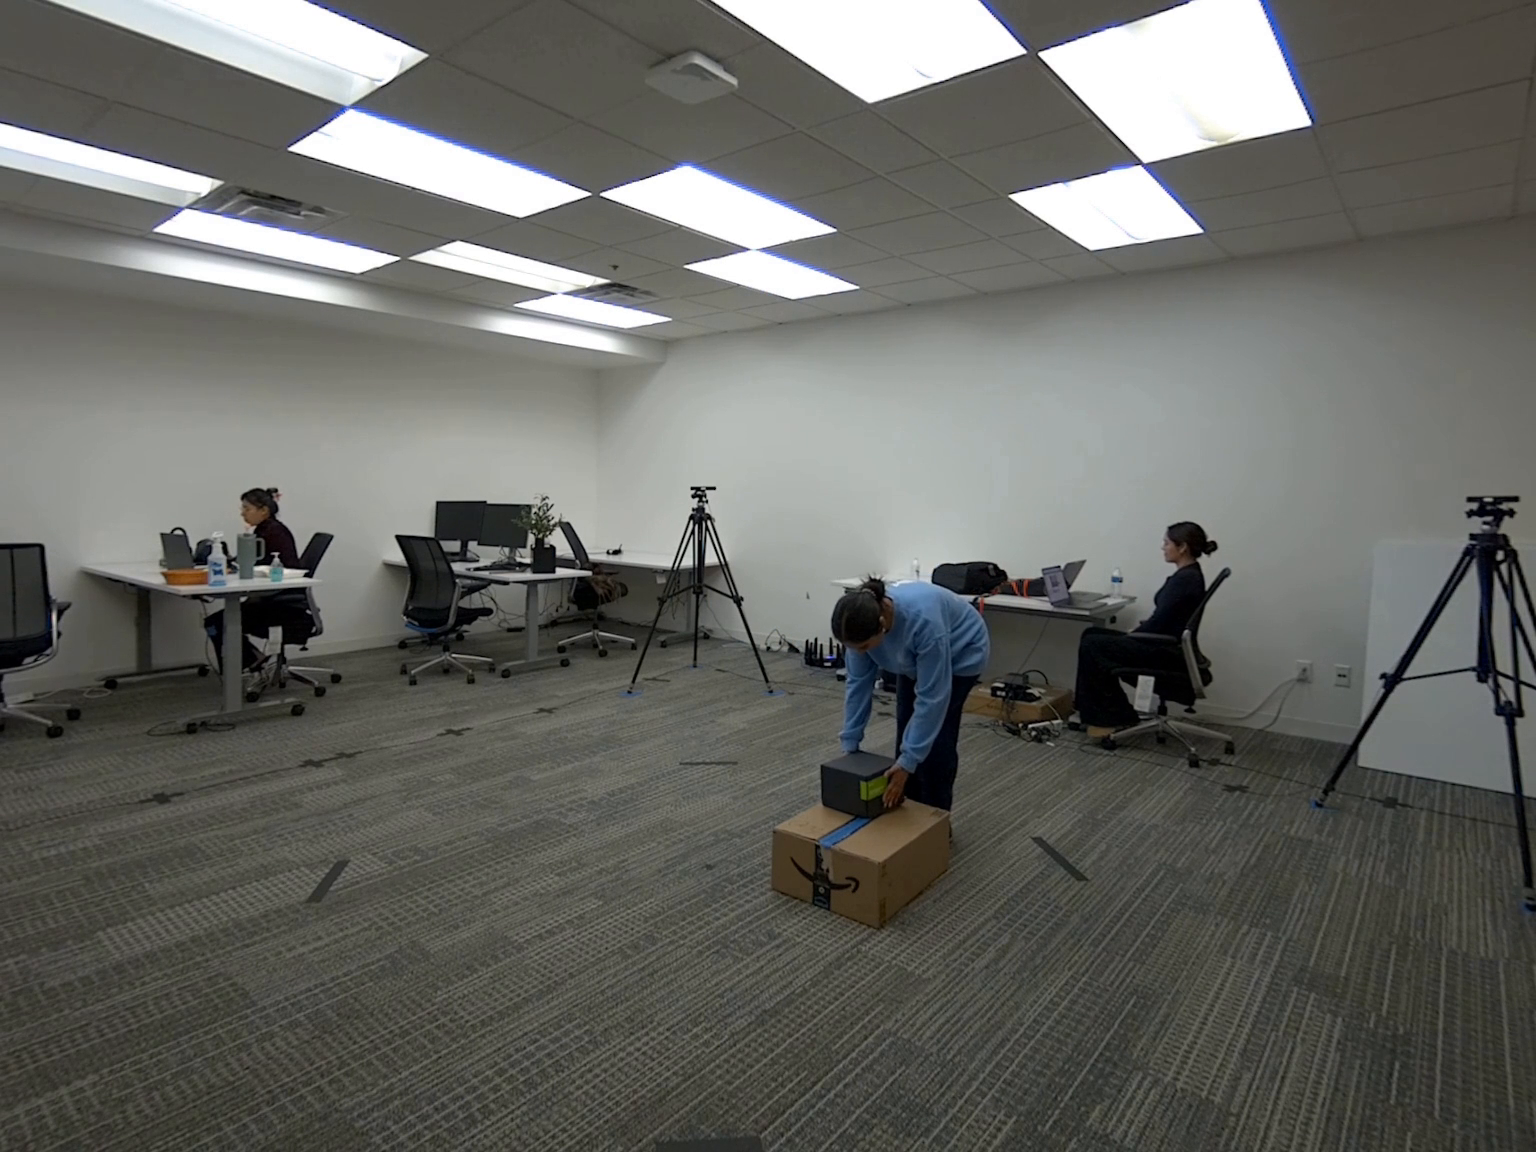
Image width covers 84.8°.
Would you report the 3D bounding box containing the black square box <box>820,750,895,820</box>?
[{"bbox_3d":[0.344,0.757,3.160,0.221,0.155,0.224,-7,7,-44],"label":"black square box"}]
